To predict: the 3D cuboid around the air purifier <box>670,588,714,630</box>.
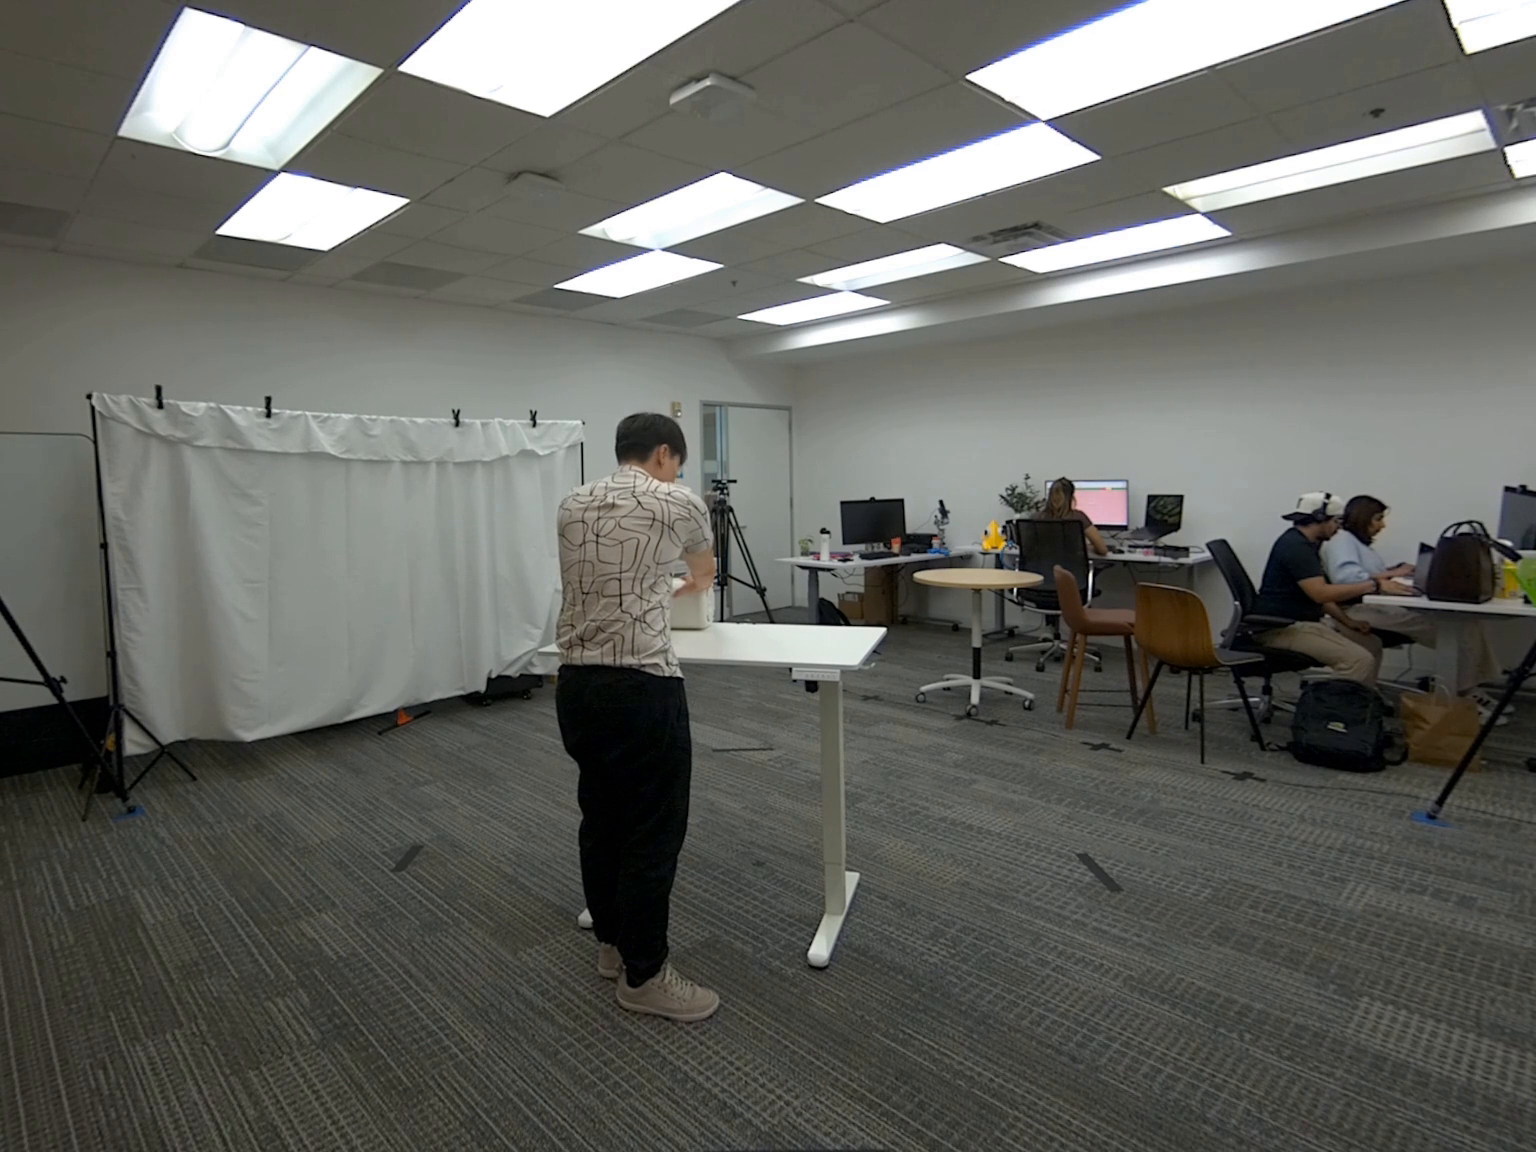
[{"bbox_3d":[-0.323,0.096,3.017,0.269,0.170,0.170,-1,5,14],"label":"air purifier"}]
